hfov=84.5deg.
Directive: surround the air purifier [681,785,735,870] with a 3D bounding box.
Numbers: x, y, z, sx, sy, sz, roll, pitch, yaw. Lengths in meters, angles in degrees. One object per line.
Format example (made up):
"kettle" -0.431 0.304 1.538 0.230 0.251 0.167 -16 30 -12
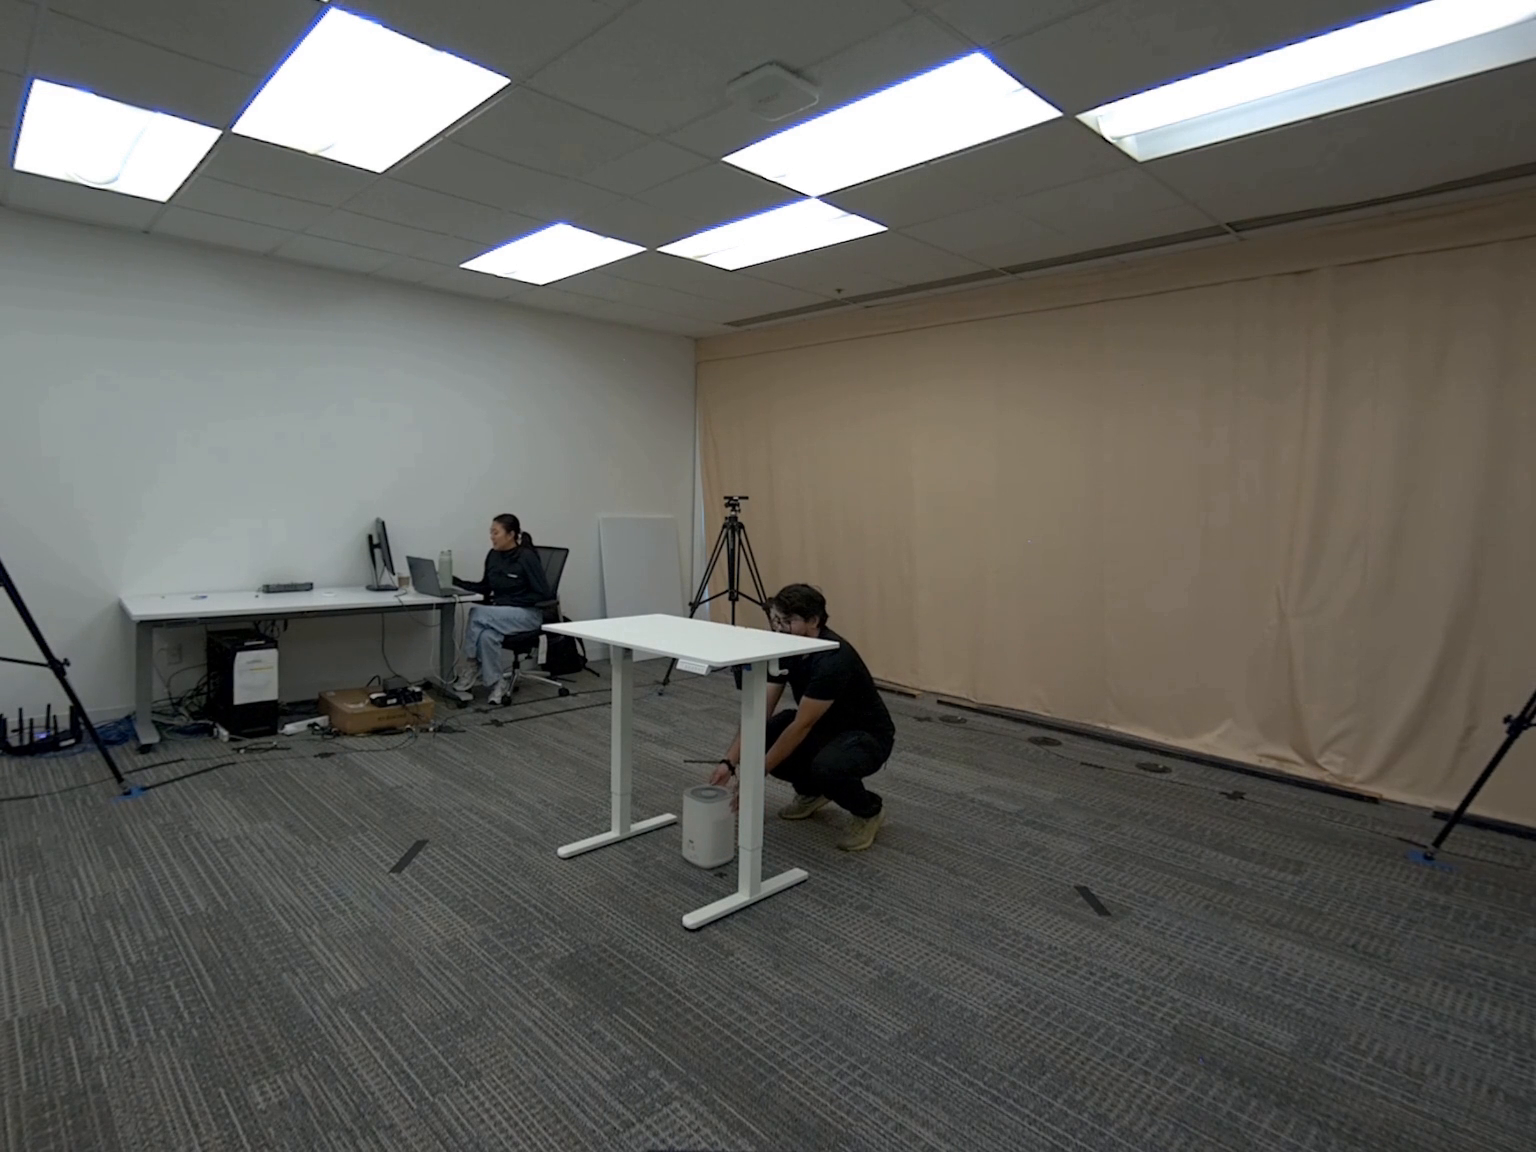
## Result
"air purifier" -0.231 0.957 3.216 0.168 0.264 0.175 -3 6 -44
